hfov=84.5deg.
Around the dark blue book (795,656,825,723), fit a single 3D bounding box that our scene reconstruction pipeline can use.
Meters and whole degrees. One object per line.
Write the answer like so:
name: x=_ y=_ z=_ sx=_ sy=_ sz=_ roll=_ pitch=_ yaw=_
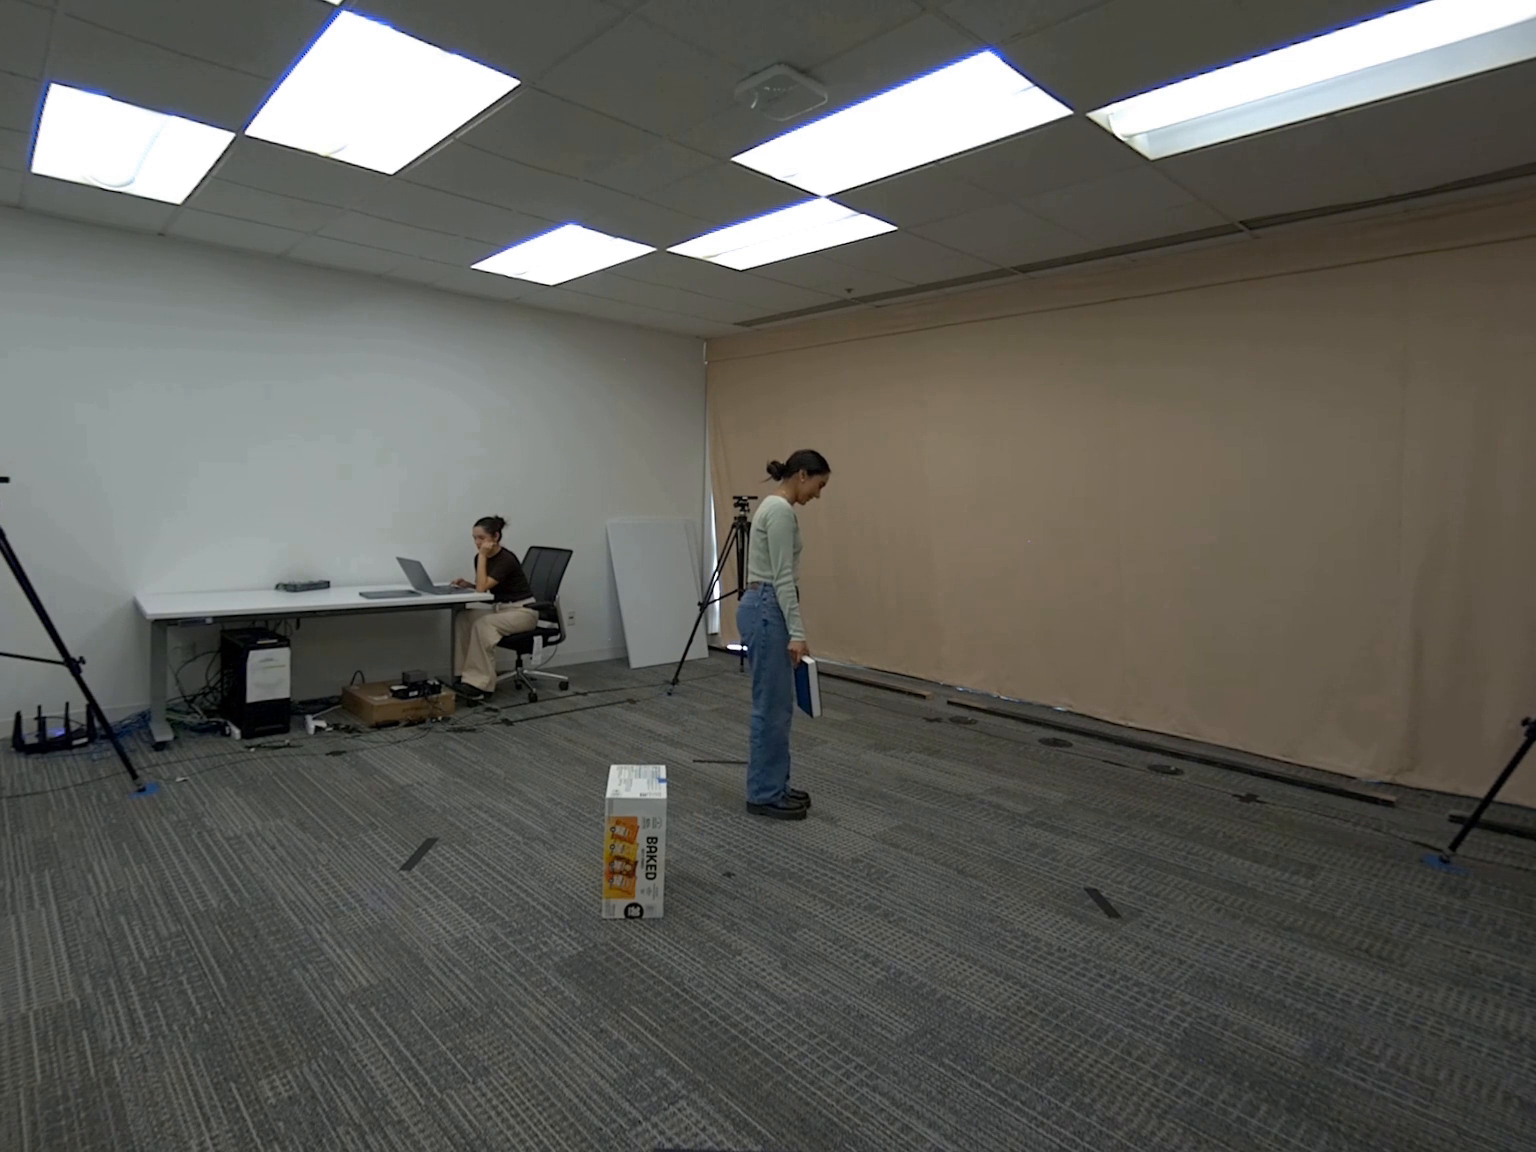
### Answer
dark blue book: x=0.167 y=0.460 z=3.536 sx=0.044 sy=0.242 sz=0.167 roll=-11 pitch=14 yaw=-21
